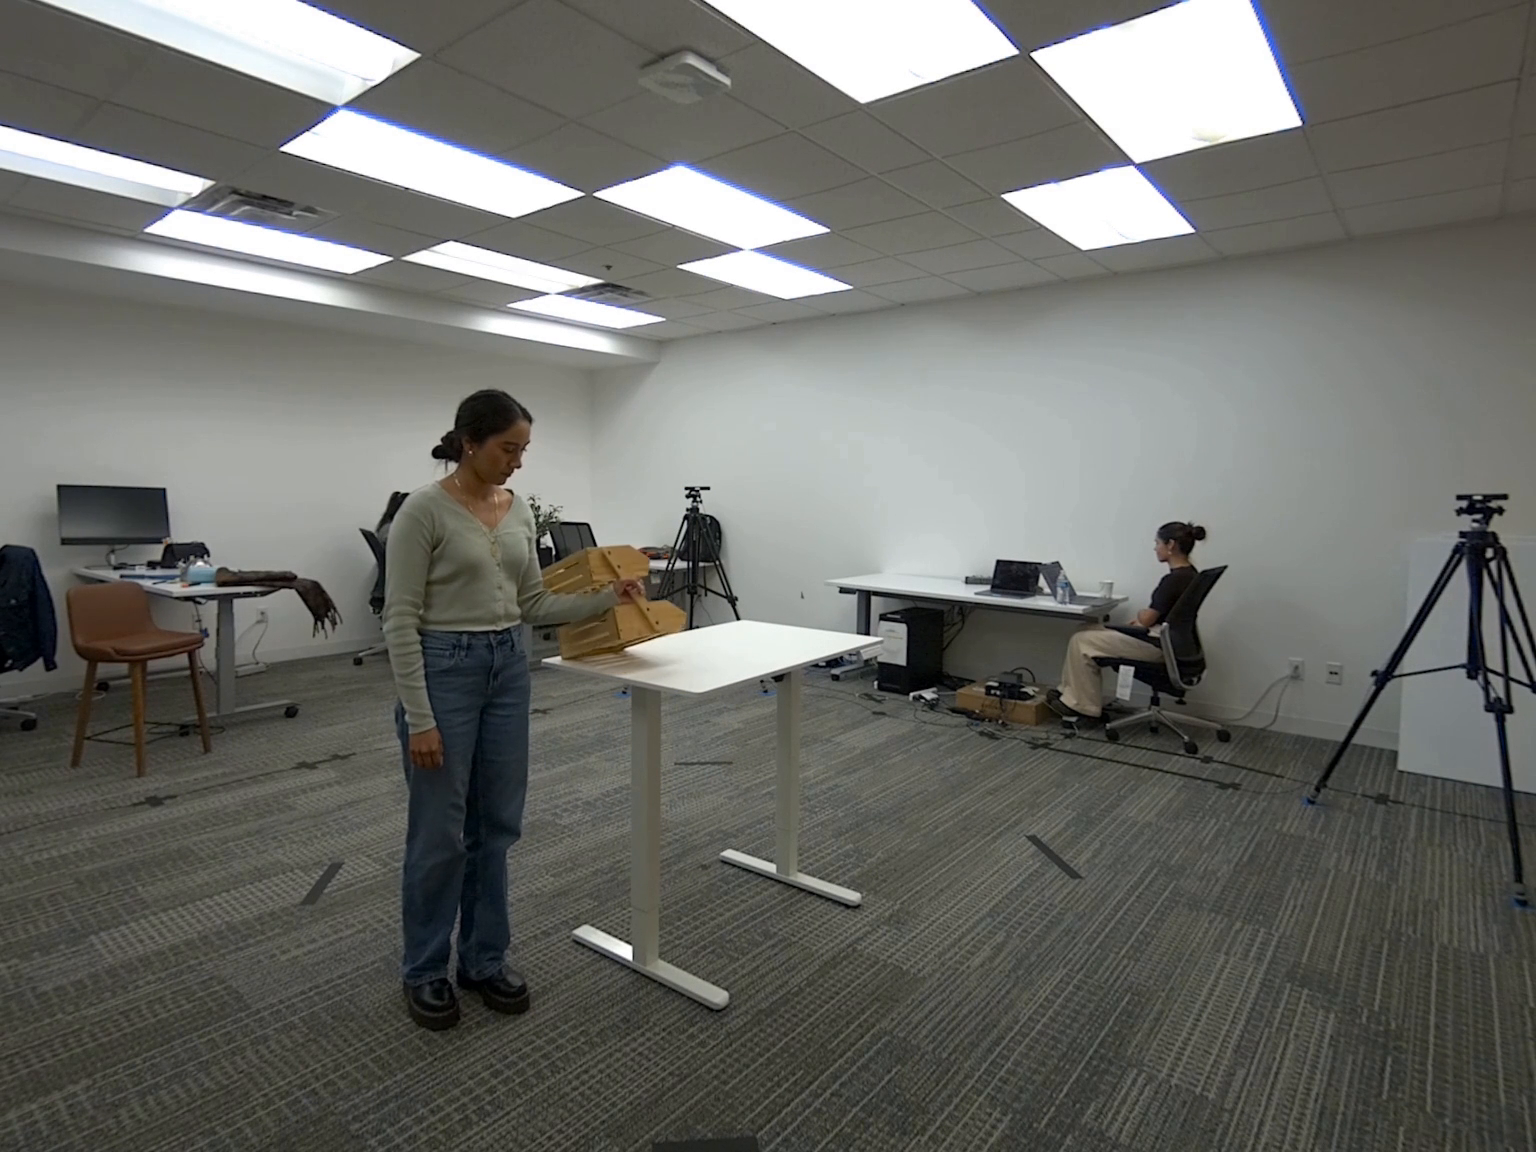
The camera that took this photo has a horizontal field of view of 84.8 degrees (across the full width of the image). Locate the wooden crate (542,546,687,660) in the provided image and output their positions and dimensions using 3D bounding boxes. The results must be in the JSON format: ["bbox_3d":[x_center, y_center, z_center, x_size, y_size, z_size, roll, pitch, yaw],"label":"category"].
[{"bbox_3d":[-0.473,0.071,2.481,0.293,0.276,0.330,-6,-11,-45],"label":"wooden crate"}]
